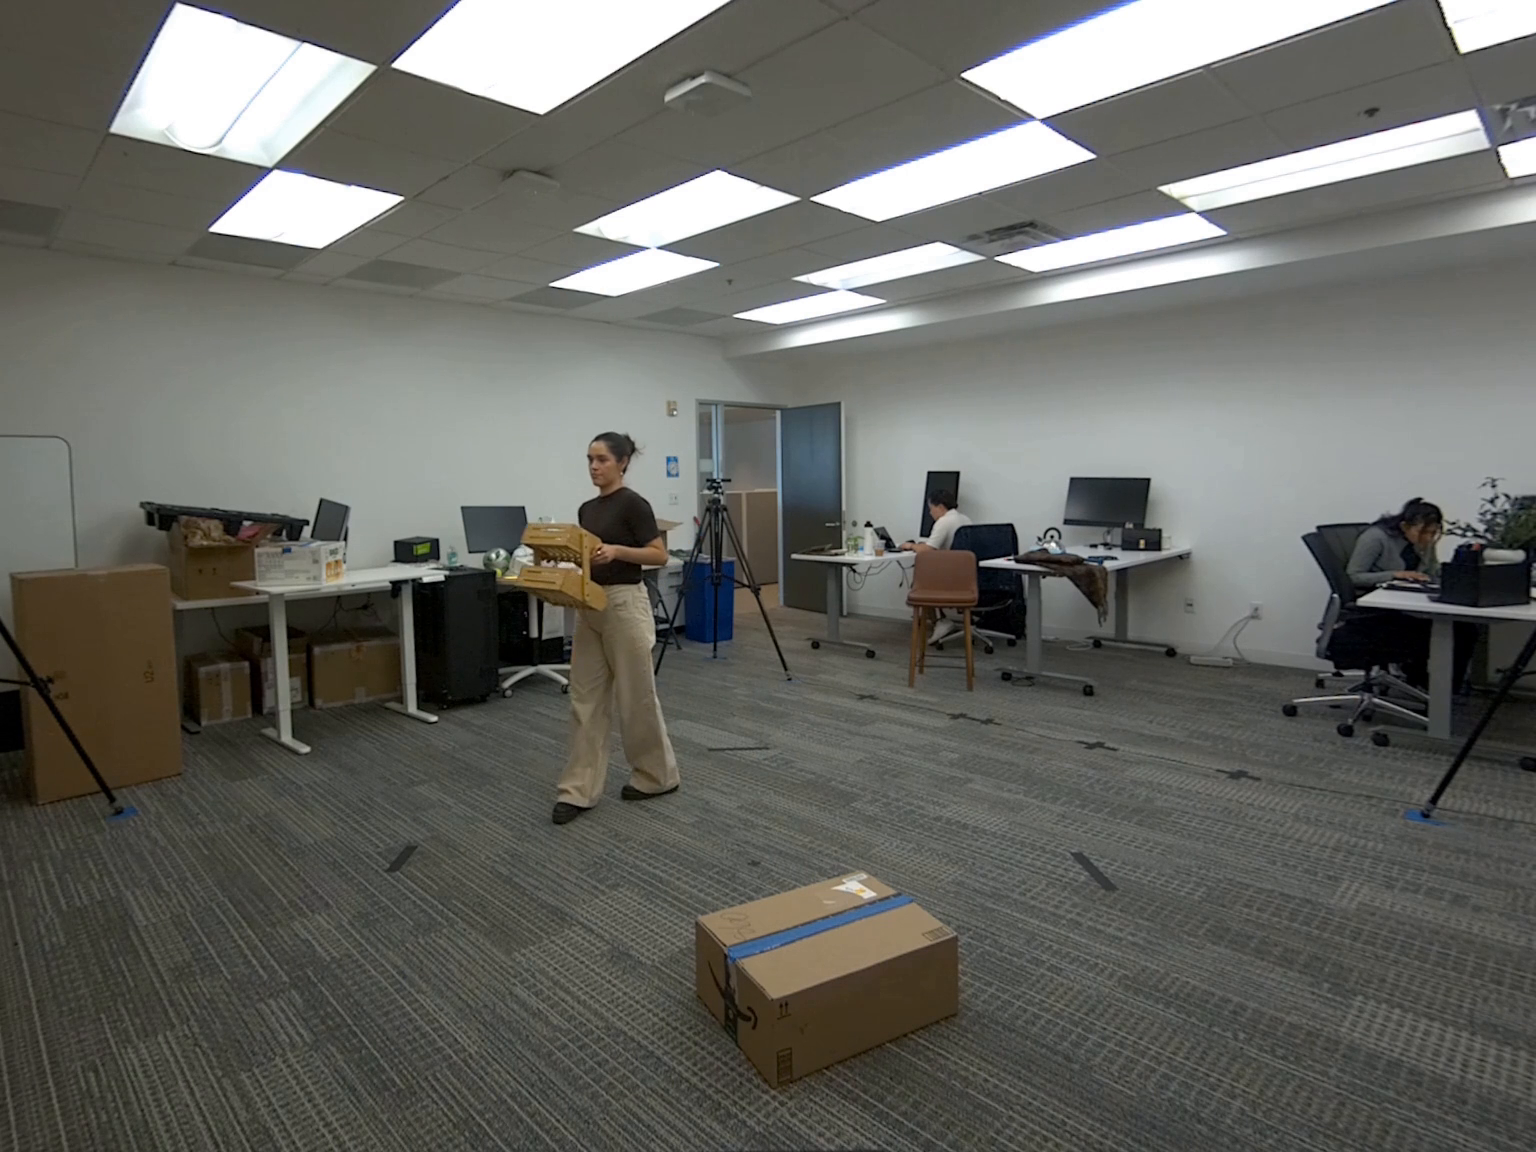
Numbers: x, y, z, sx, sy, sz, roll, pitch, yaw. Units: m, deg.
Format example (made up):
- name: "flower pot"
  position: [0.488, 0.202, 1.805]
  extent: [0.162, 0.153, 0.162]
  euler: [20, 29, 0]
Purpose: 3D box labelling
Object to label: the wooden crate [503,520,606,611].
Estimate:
- name: "wooden crate"
  position: [-0.821, -0.042, 3.497]
  extent: [0.334, 0.276, 0.290]
  euler: [2, -22, 38]
